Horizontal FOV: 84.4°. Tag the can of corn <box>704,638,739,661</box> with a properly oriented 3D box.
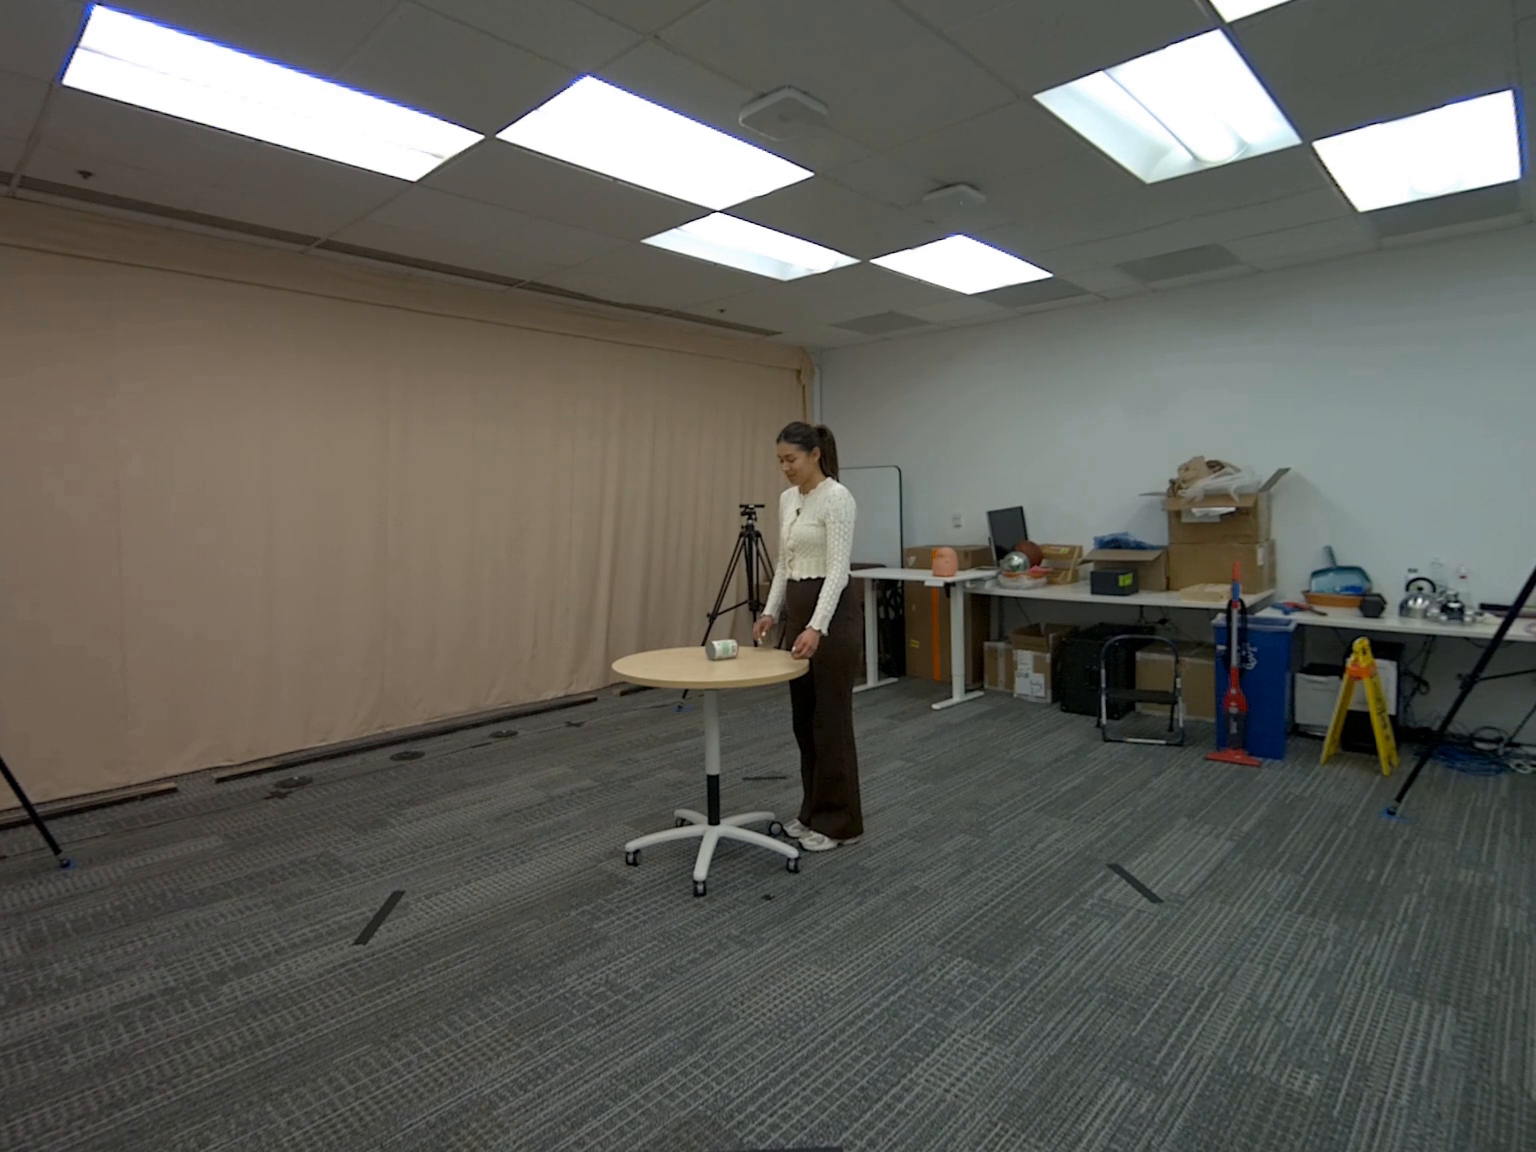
[{"bbox_3d":[-0.188,0.292,3.342,0.109,0.074,0.076,-2,4,-18],"label":"can of corn"}]
